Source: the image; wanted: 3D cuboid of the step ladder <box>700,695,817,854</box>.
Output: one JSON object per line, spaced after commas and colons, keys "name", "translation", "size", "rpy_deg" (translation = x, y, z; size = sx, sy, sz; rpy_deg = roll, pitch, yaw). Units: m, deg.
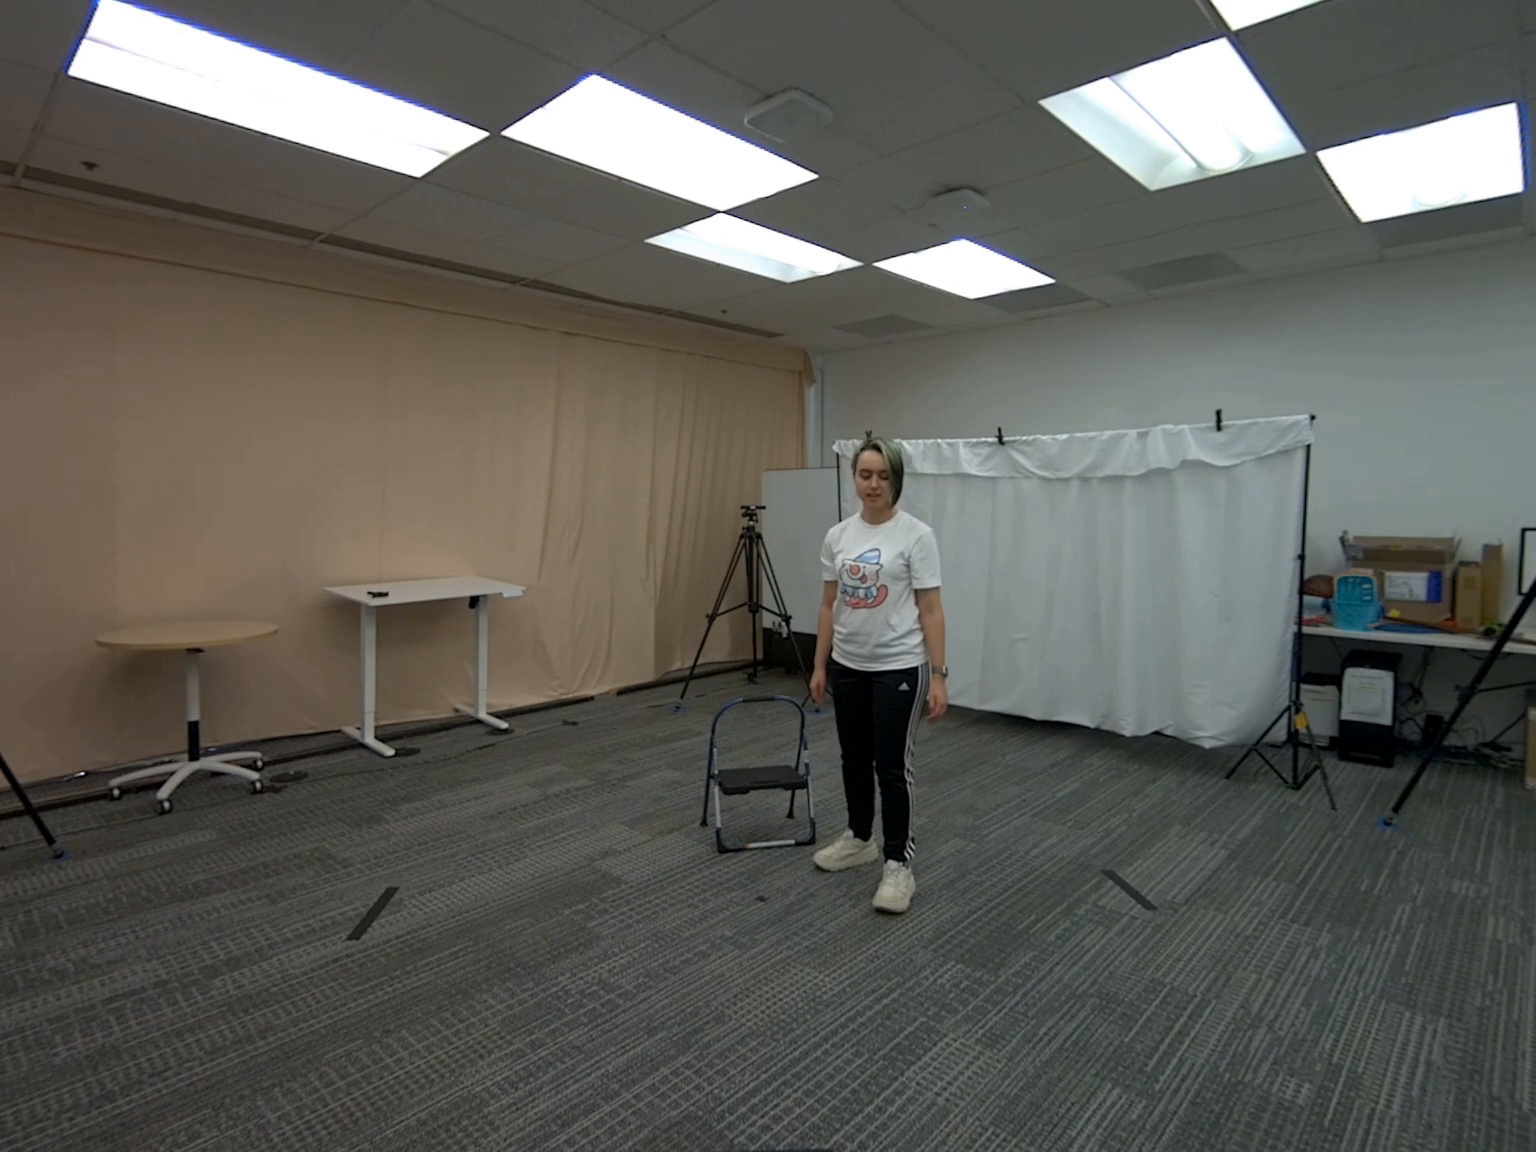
{"name": "step ladder", "translation": [-0.048, 0.795, 3.563], "size": [0.424, 0.605, 0.355], "rpy_deg": [-1, 3, -15]}
